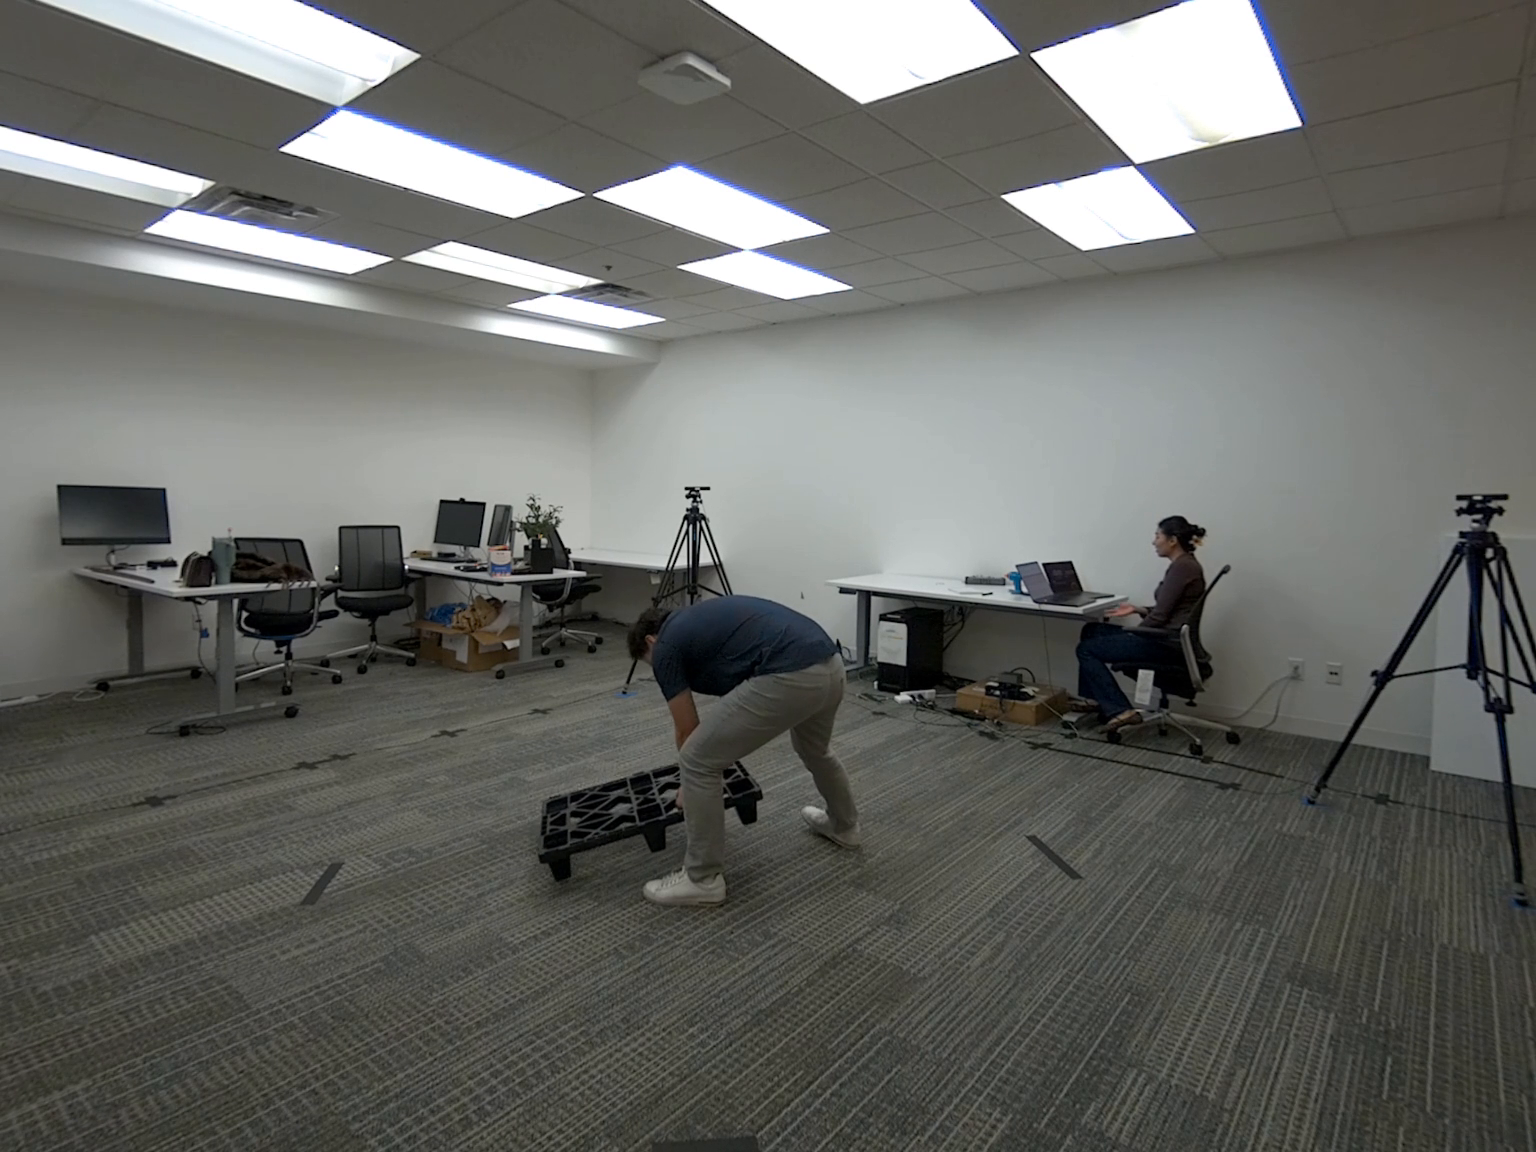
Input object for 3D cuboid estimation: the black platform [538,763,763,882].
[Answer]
[{"bbox_3d":[-0.460,0.889,3.221,0.799,0.142,0.613,-14,6,-11],"label":"black platform"}]
